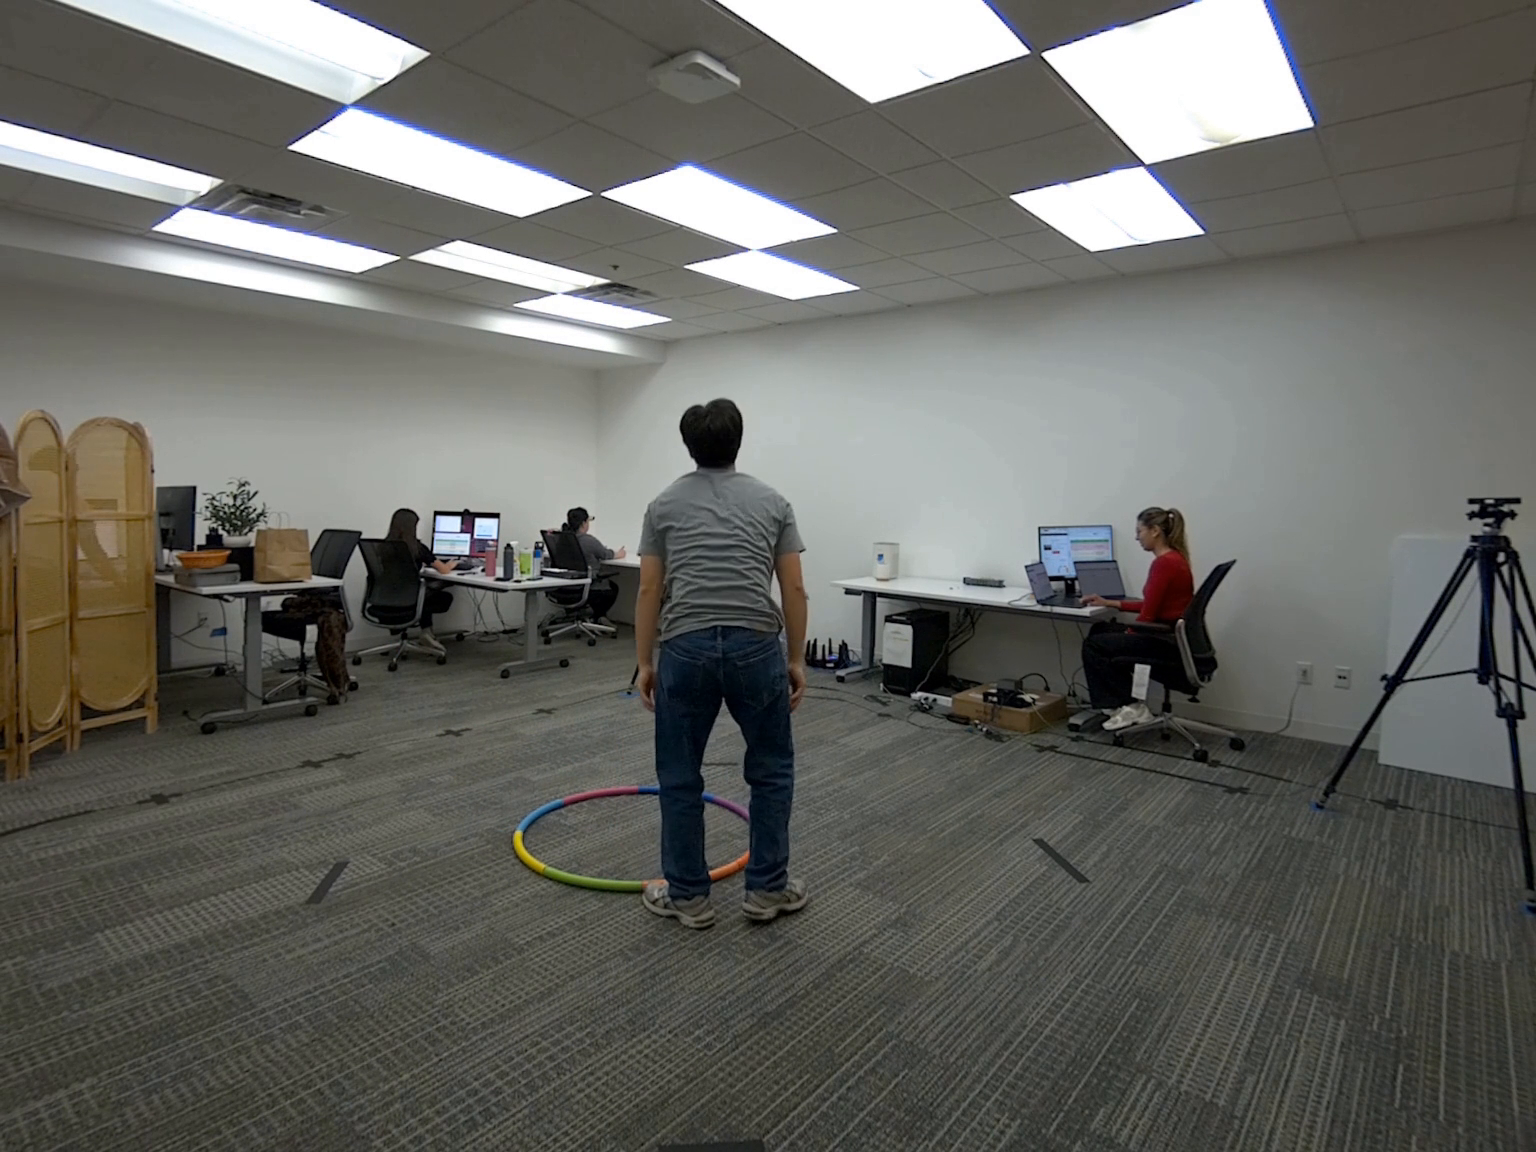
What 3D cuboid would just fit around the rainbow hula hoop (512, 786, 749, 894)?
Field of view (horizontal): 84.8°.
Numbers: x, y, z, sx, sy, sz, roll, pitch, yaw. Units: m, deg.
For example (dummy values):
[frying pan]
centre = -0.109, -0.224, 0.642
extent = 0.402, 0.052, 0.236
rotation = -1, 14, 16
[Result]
[rainbow hula hoop]
centre = -0.518, 1.005, 3.383
extent = 0.978, 0.035, 0.984
rotation = 1, 5, -2
